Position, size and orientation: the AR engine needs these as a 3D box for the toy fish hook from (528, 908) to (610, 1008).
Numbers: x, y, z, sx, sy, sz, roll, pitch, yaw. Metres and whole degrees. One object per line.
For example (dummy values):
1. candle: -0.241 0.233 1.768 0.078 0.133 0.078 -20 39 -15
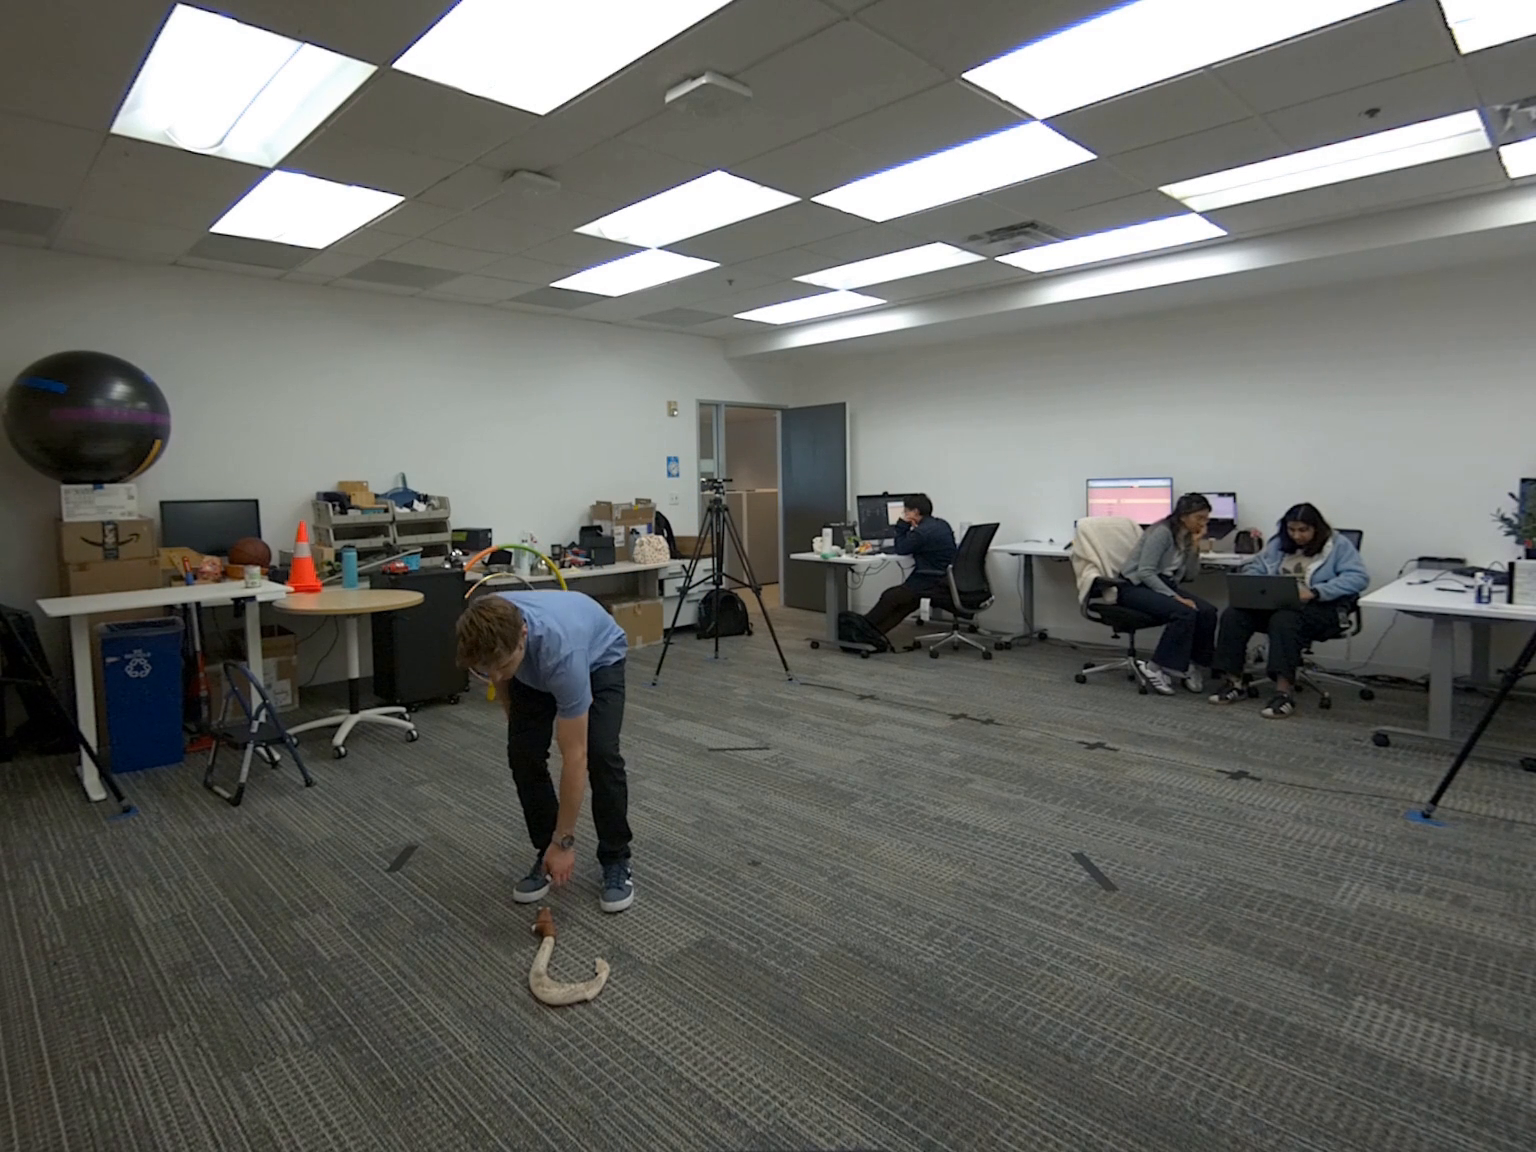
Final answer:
1. toy fish hook: -0.593 1.111 2.524 0.221 0.048 0.517 5 6 -18
